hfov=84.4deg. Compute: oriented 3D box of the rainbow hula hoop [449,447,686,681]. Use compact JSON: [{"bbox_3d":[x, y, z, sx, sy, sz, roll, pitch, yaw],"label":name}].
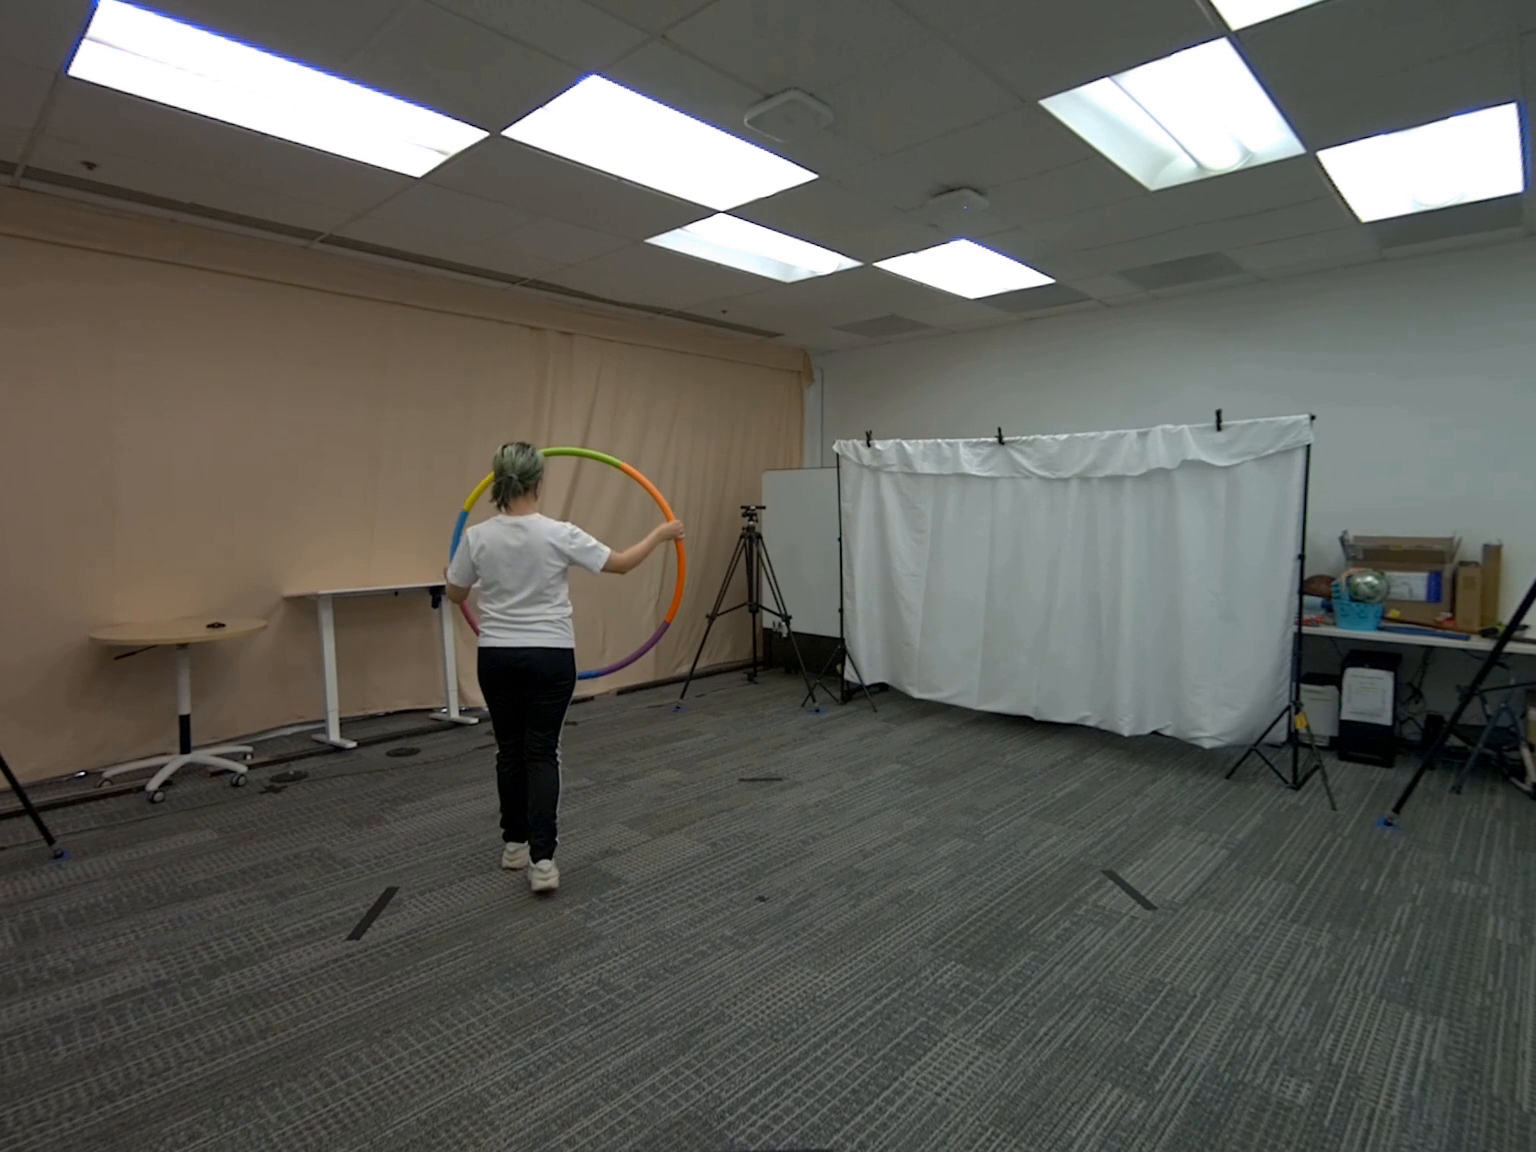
[{"bbox_3d":[-0.829,-0.038,3.511,0.980,0.975,0.035,0,4,2],"label":"rainbow hula hoop"}]
